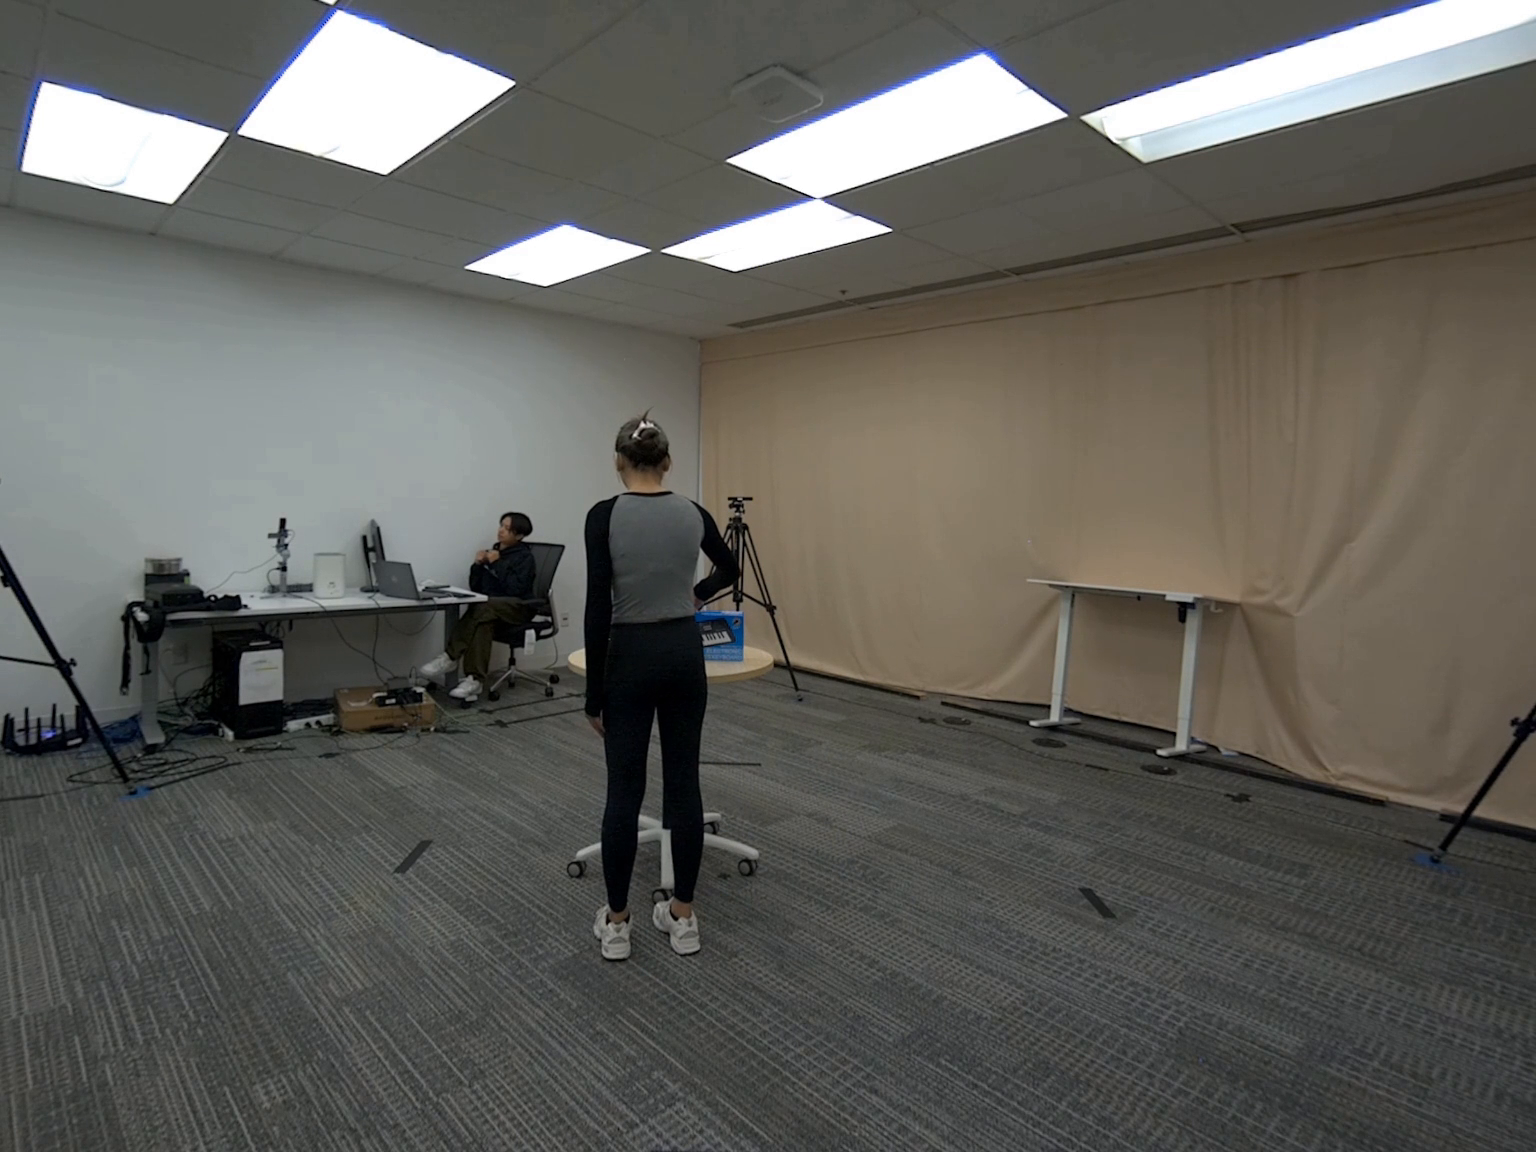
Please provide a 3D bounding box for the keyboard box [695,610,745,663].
[{"bbox_3d":[-0.314,0.212,3.112,0.437,0.175,0.059,1,8,2],"label":"keyboard box"}]
